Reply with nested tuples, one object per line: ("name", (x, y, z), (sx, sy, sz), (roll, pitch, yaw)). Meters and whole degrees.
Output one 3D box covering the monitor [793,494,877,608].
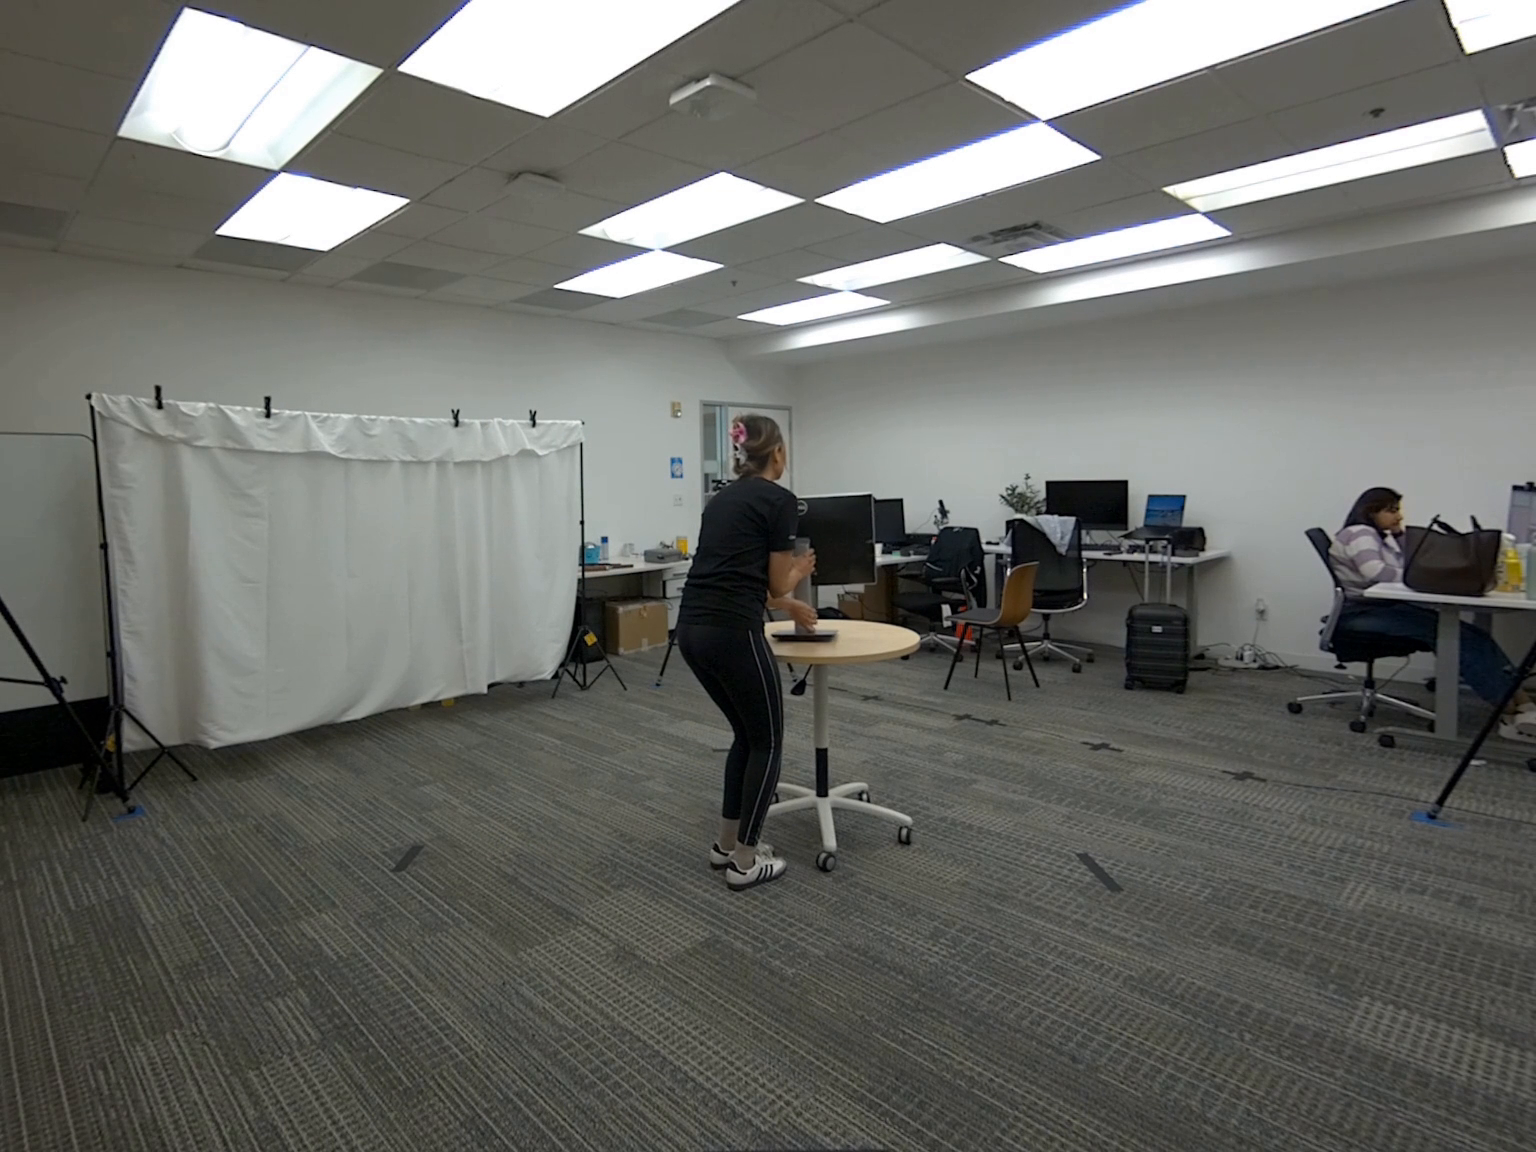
("monitor", (0.135, -0.038, 3.330), (0.544, 0.523, 0.185), (-2, 0, 10))
